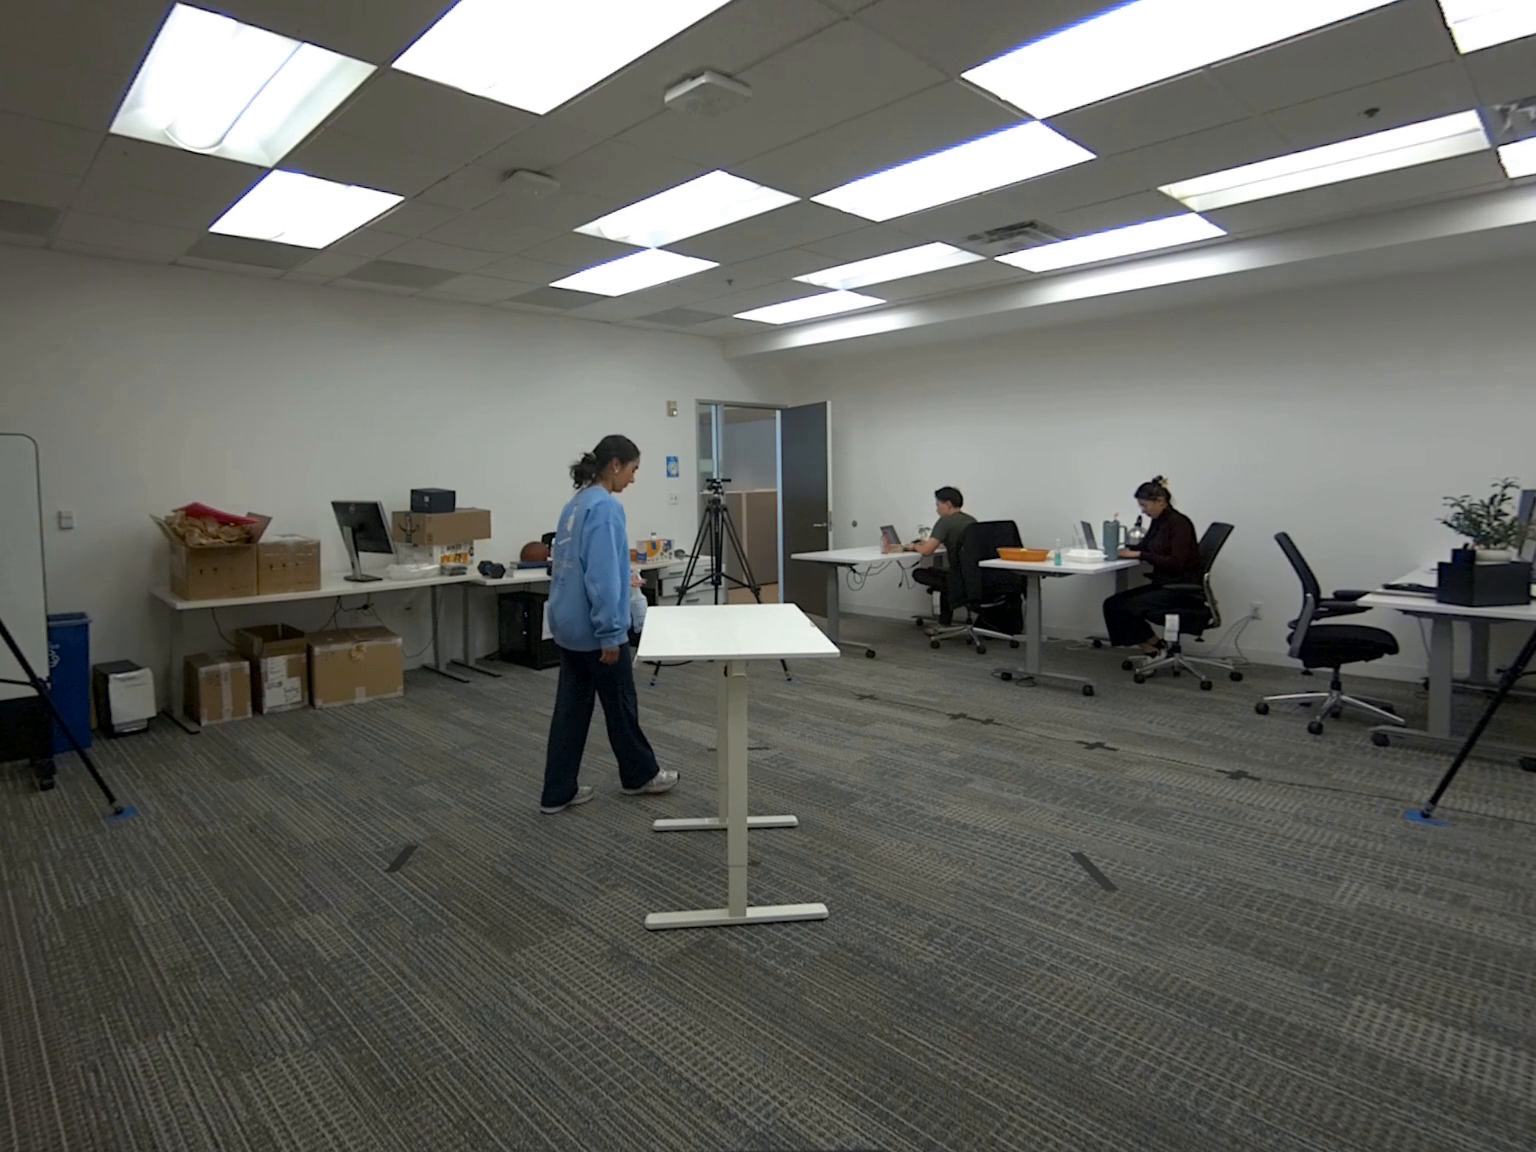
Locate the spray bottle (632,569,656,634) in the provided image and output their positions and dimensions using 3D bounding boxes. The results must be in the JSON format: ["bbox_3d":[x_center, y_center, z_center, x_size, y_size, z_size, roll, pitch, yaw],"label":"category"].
[{"bbox_3d":[-0.621,0.121,4.116,0.085,0.298,0.091,-7,-3,-27],"label":"spray bottle"}]
